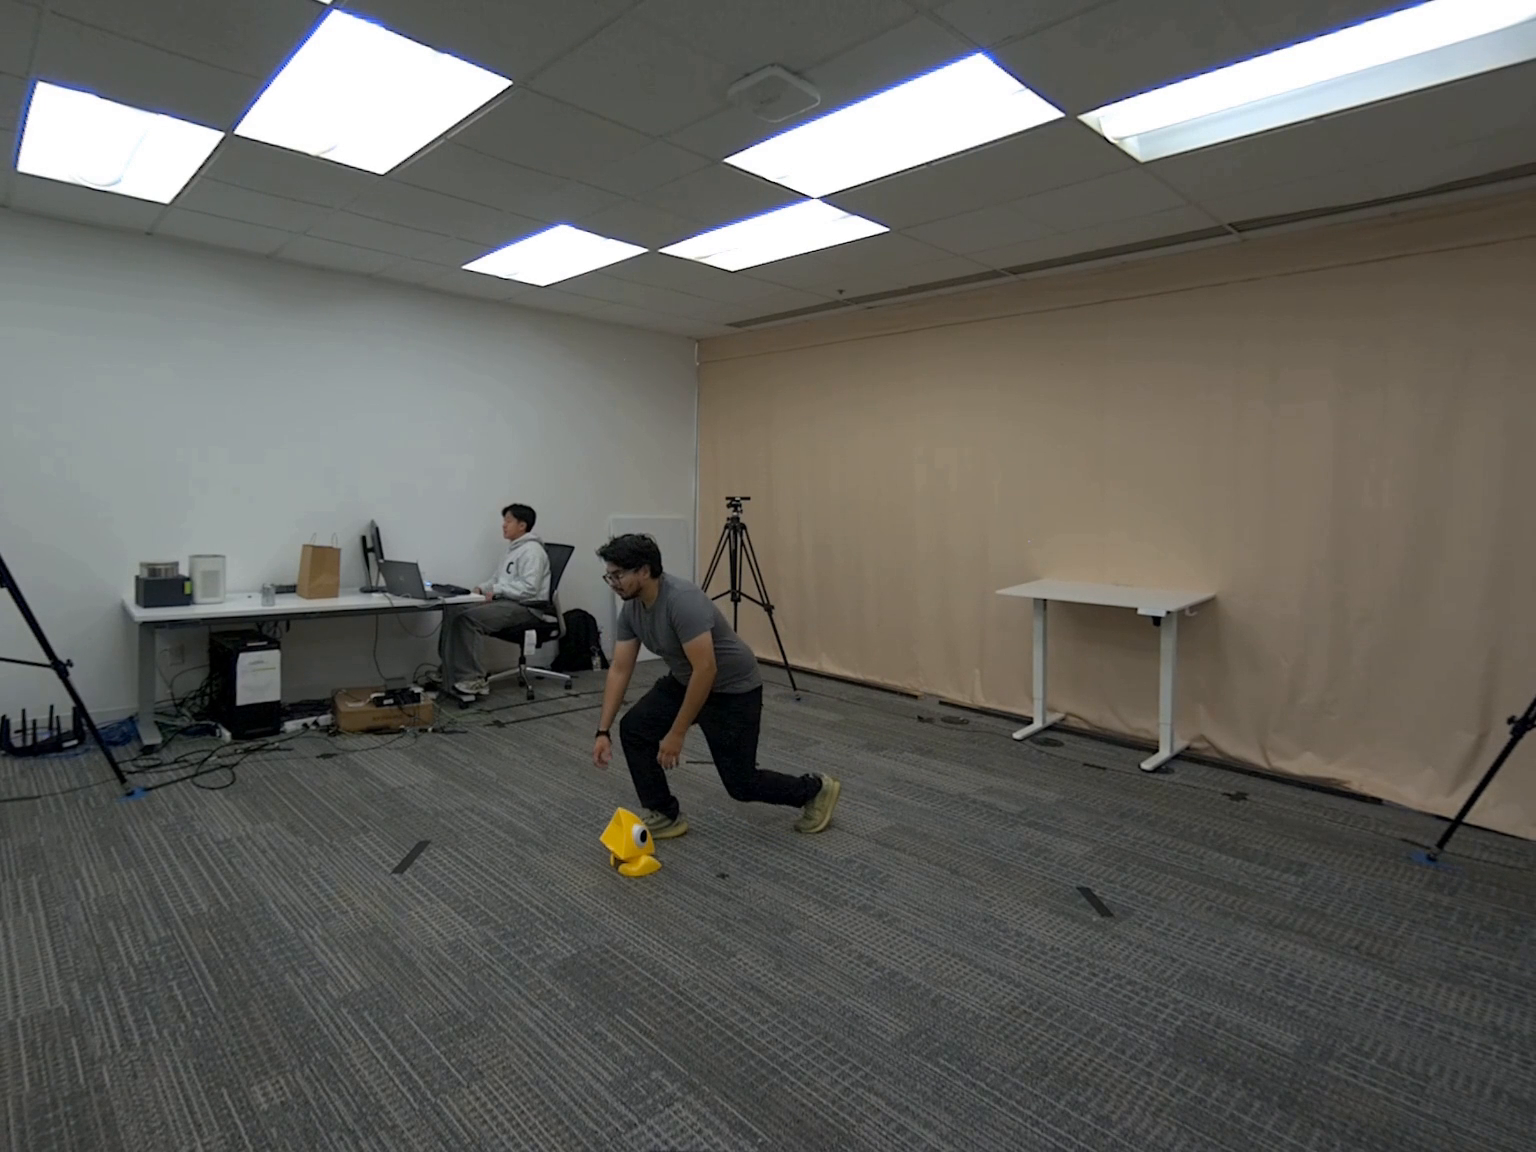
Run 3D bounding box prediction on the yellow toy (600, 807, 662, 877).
[{"bbox_3d":[-0.525,0.980,3.176,0.189,0.230,0.210,0,4,-34],"label":"yellow toy"}]
